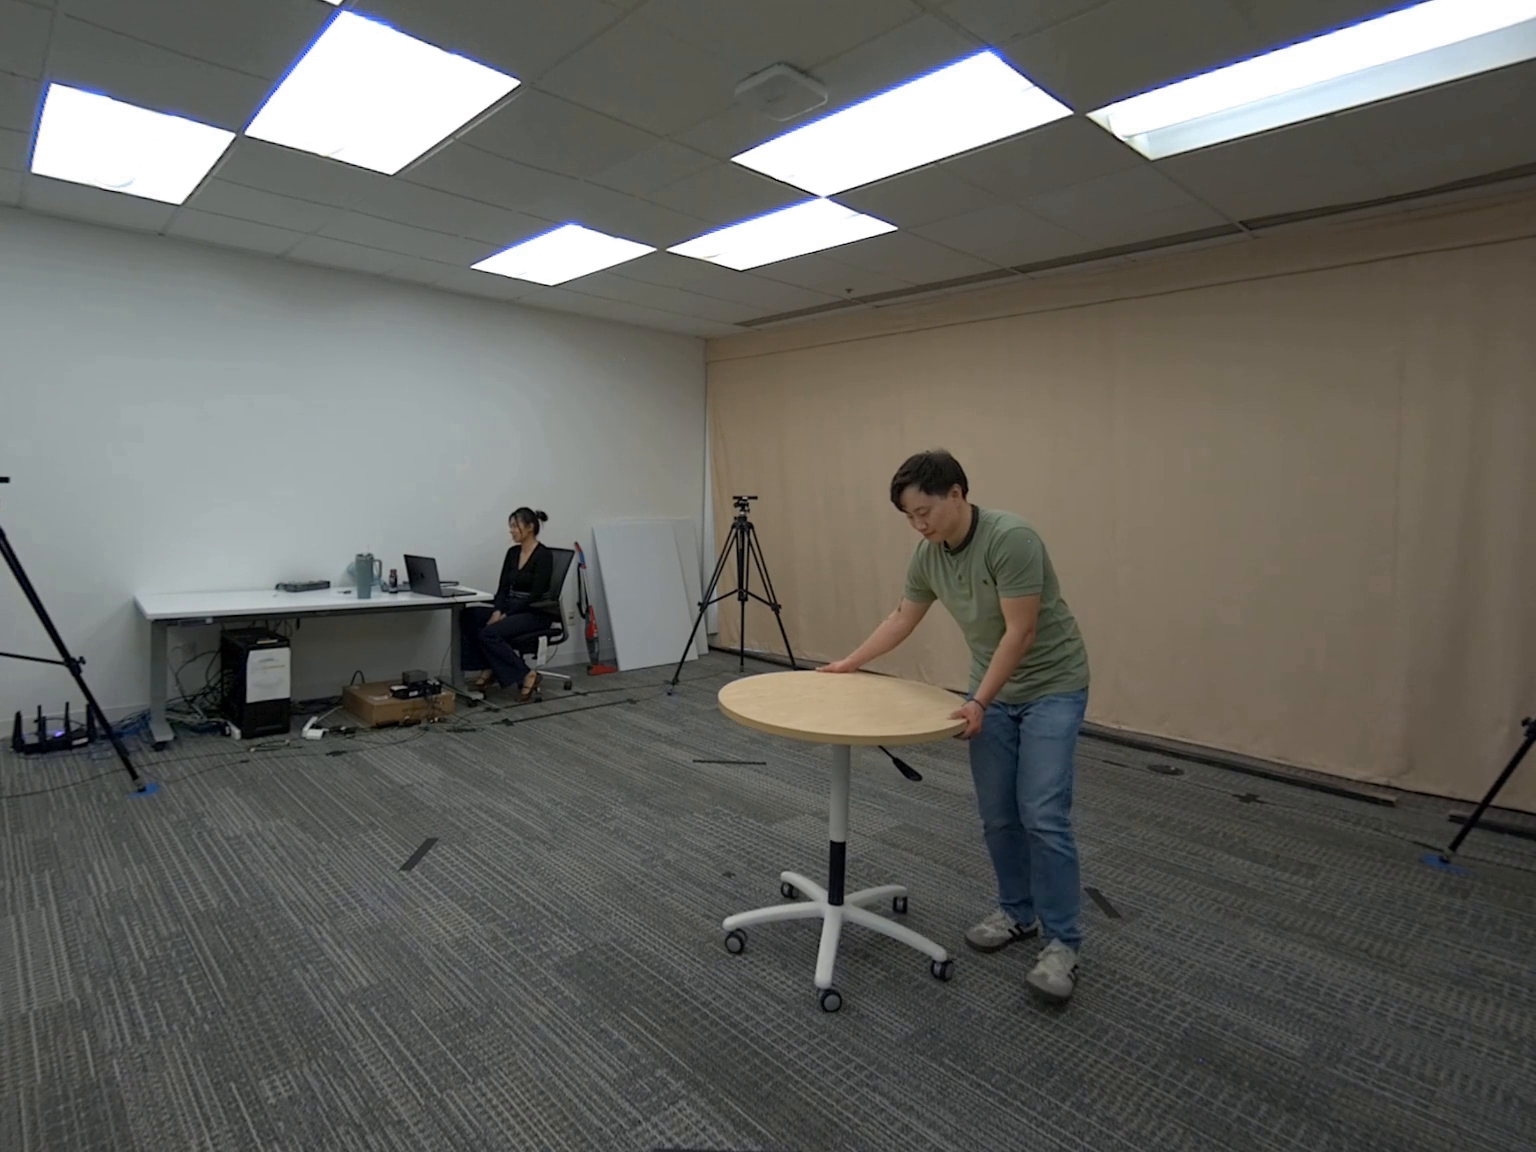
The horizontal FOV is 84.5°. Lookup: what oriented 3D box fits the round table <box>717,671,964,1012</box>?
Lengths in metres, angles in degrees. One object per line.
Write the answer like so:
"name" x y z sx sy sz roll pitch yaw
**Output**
"round table" 0.217 0.765 2.608 0.763 0.791 0.767 2 5 -2
